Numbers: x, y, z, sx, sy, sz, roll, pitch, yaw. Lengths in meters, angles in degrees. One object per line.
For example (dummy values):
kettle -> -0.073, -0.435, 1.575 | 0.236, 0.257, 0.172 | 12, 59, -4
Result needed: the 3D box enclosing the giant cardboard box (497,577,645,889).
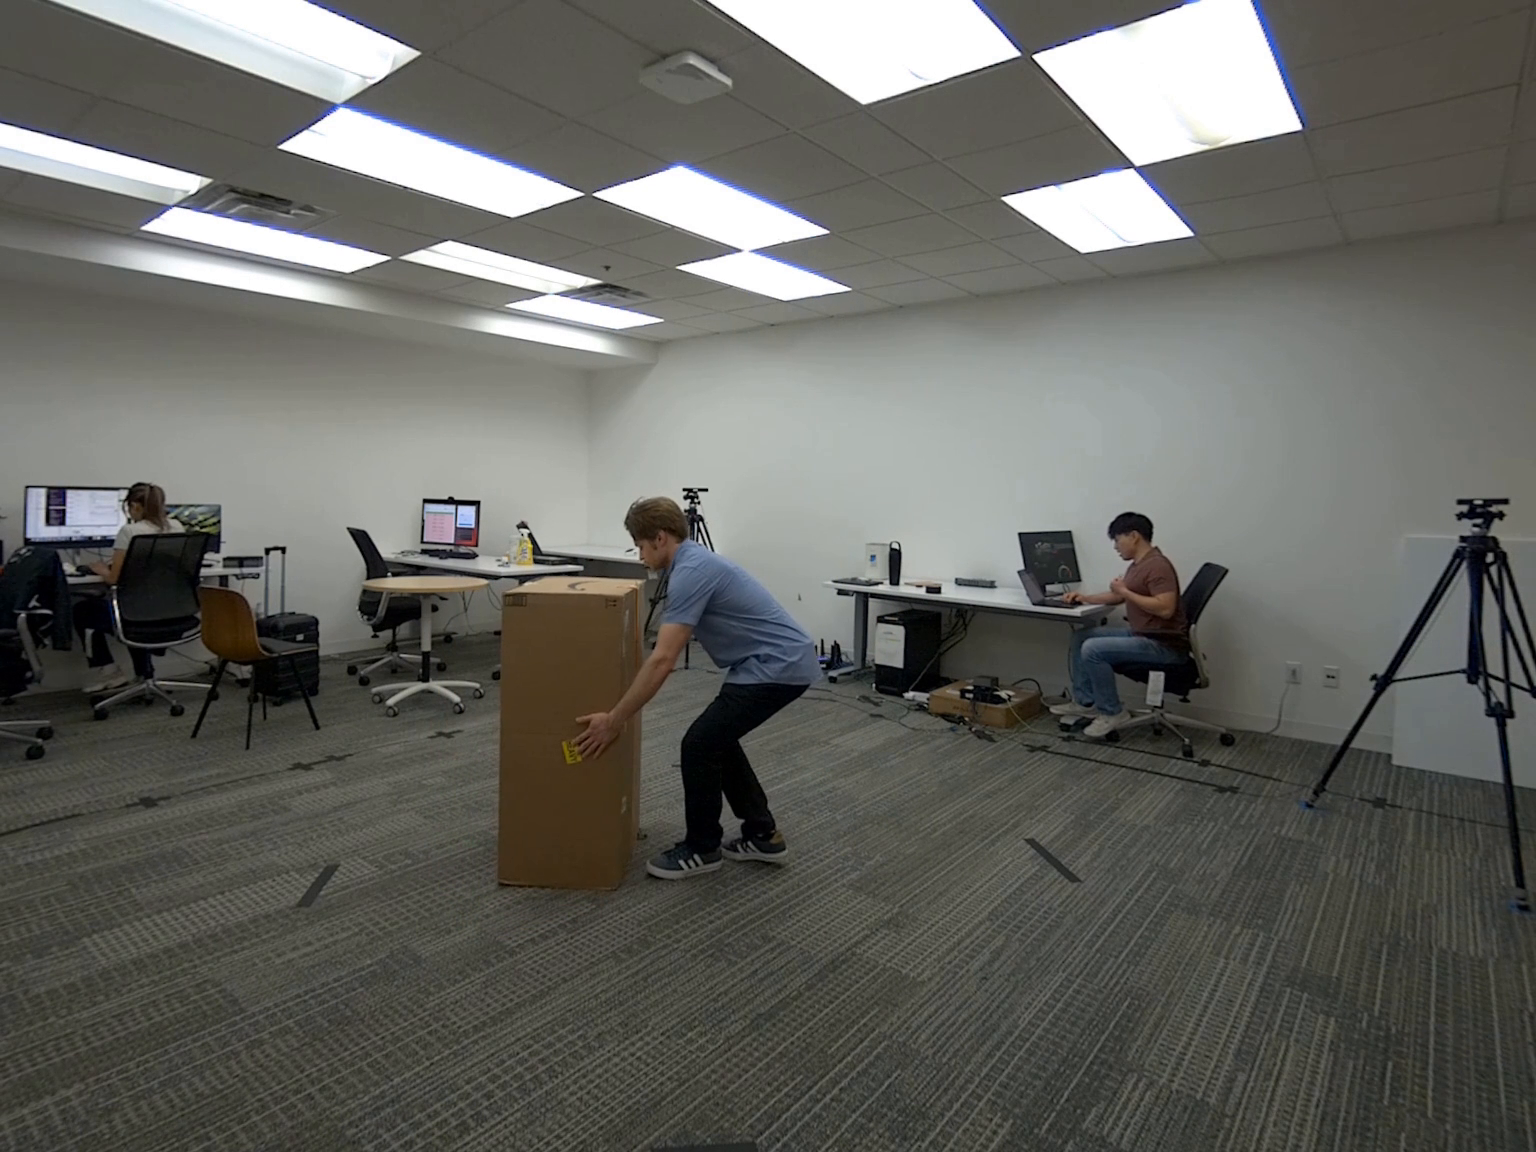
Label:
giant cardboard box -> -0.732, 0.541, 3.207 | 0.427, 1.024, 0.577 | 1, 2, 1
